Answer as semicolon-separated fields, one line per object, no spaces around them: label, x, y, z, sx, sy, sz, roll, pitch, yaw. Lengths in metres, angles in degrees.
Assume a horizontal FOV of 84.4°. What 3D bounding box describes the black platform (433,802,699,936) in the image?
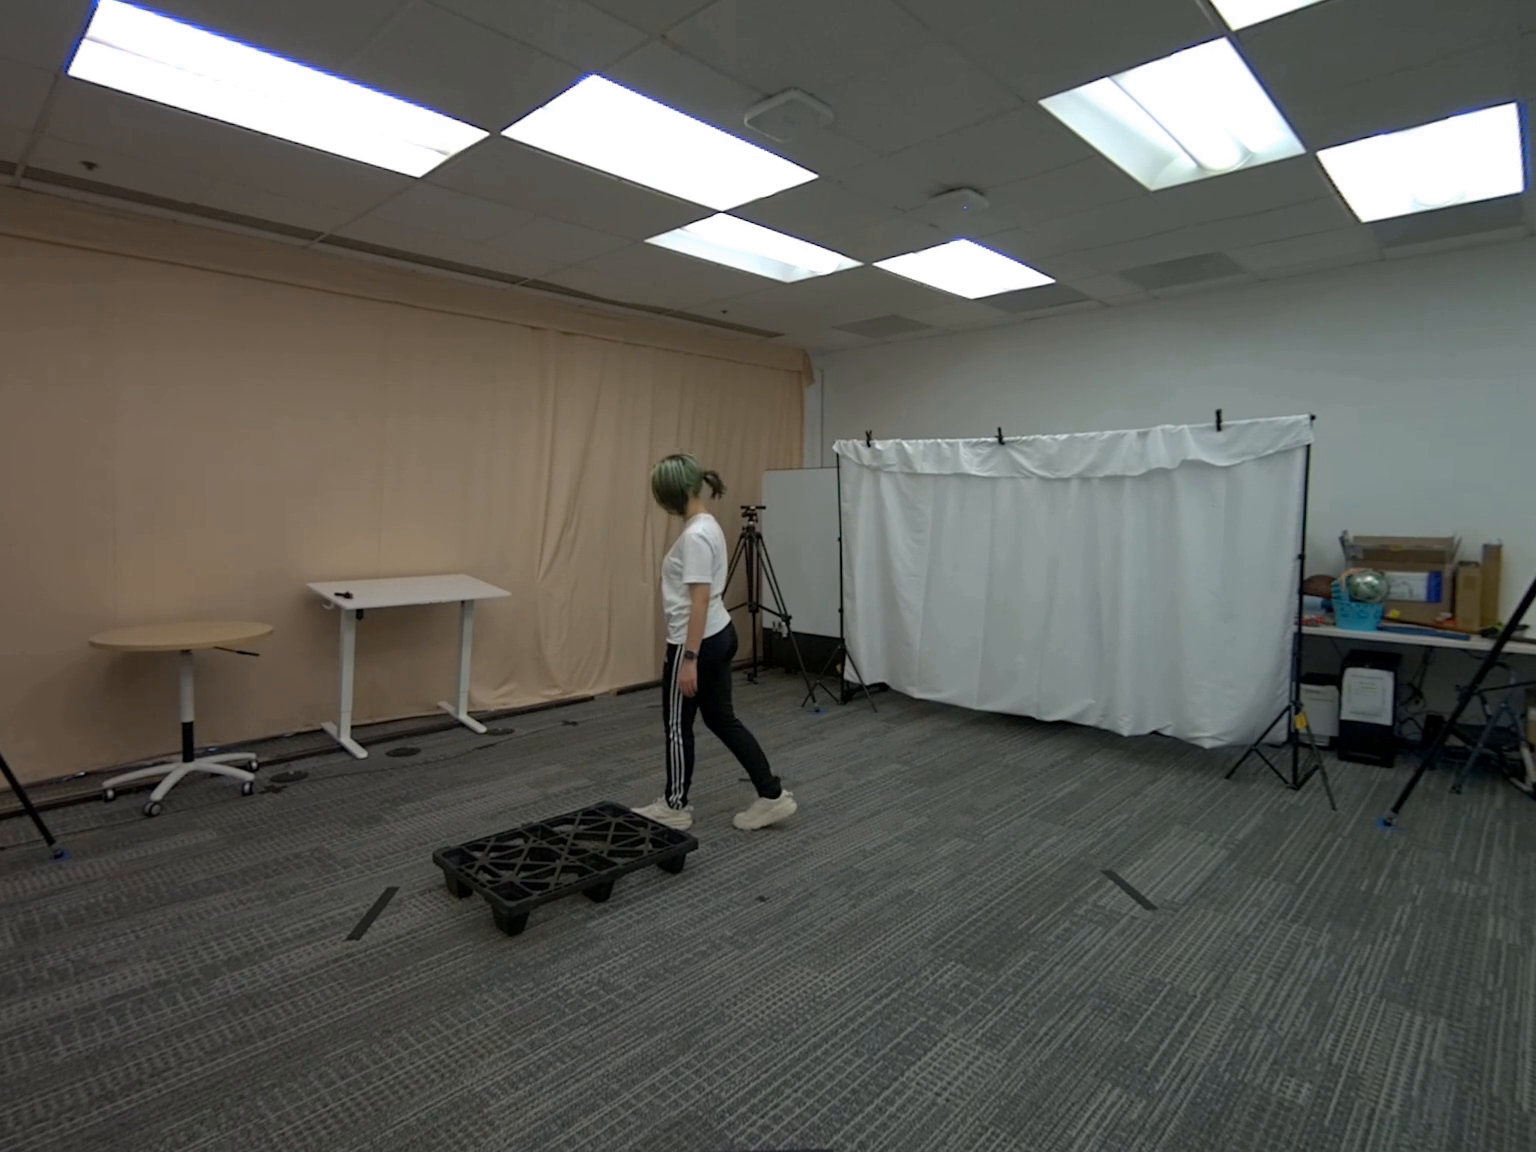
black platform;-0.744;1.072;3.137;0.781;0.143;0.625;-5;7;-43
